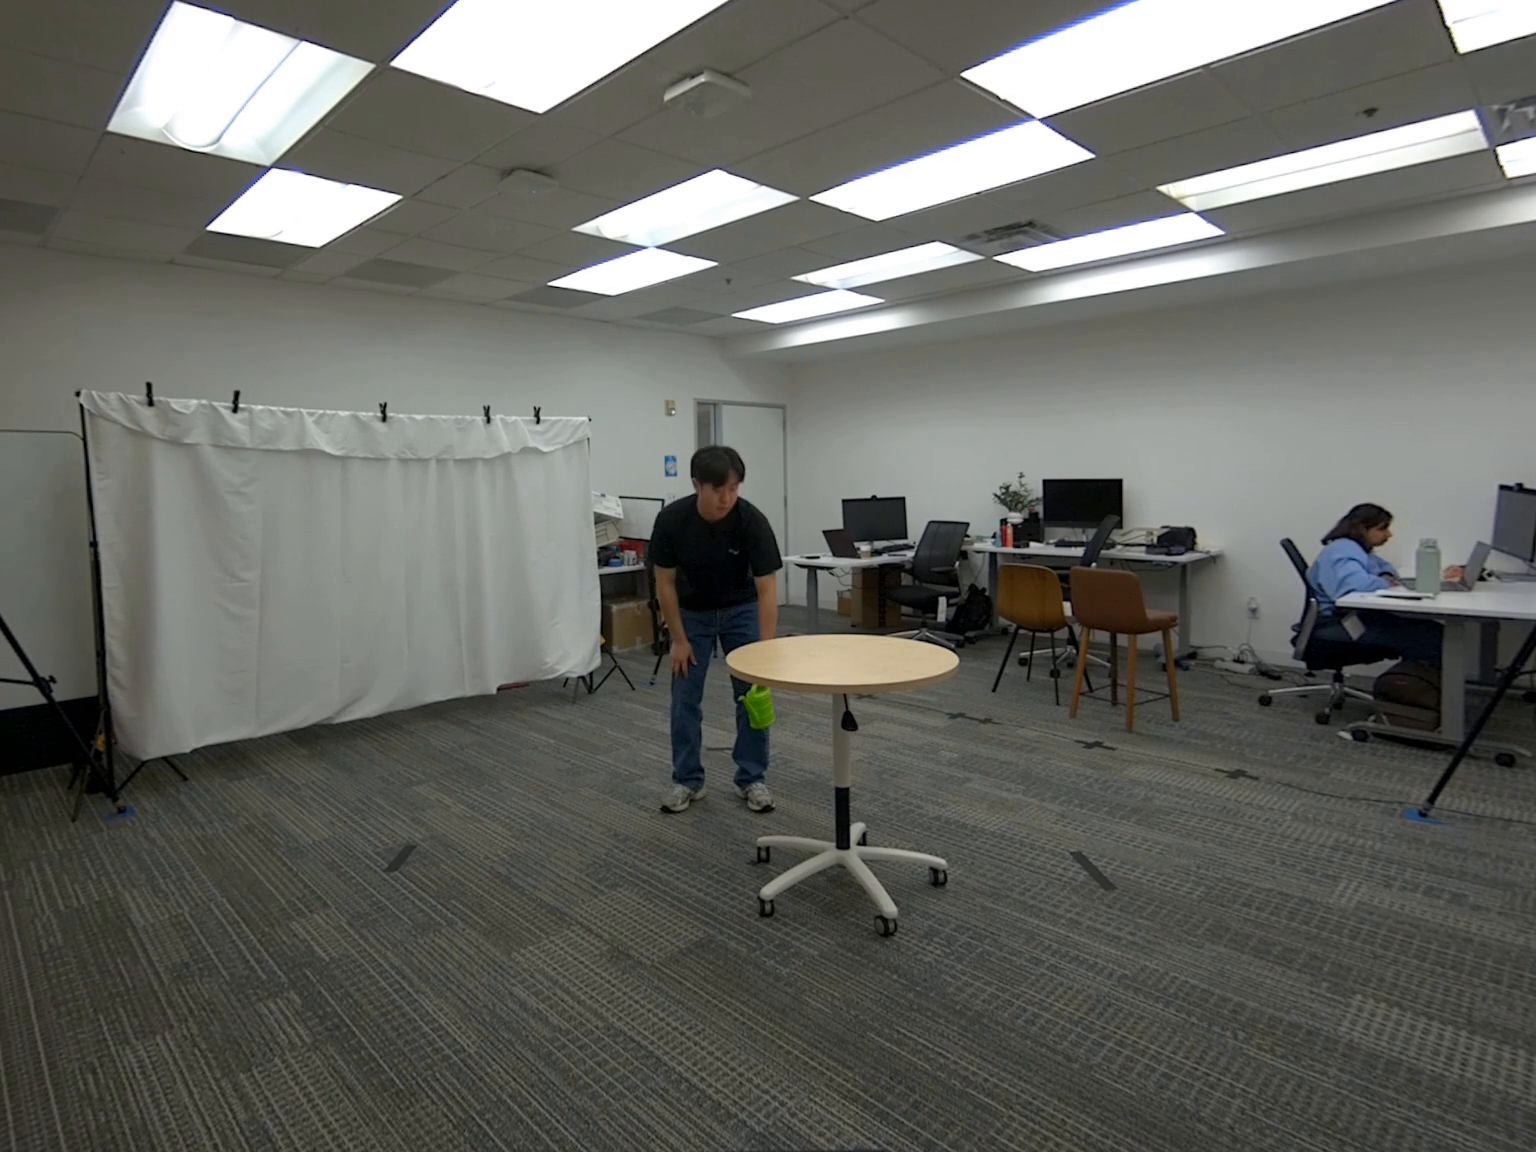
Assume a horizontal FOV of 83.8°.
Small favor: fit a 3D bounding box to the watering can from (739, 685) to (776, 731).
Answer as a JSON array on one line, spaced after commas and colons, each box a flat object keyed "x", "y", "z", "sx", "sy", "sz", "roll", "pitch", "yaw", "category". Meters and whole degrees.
[{"x": -0.061, "y": 0.533, "z": 3.429, "sx": 0.100, "sy": 0.175, "sz": 0.274, "roll": -6, "pitch": 9, "yaw": 29, "category": "watering can"}]
